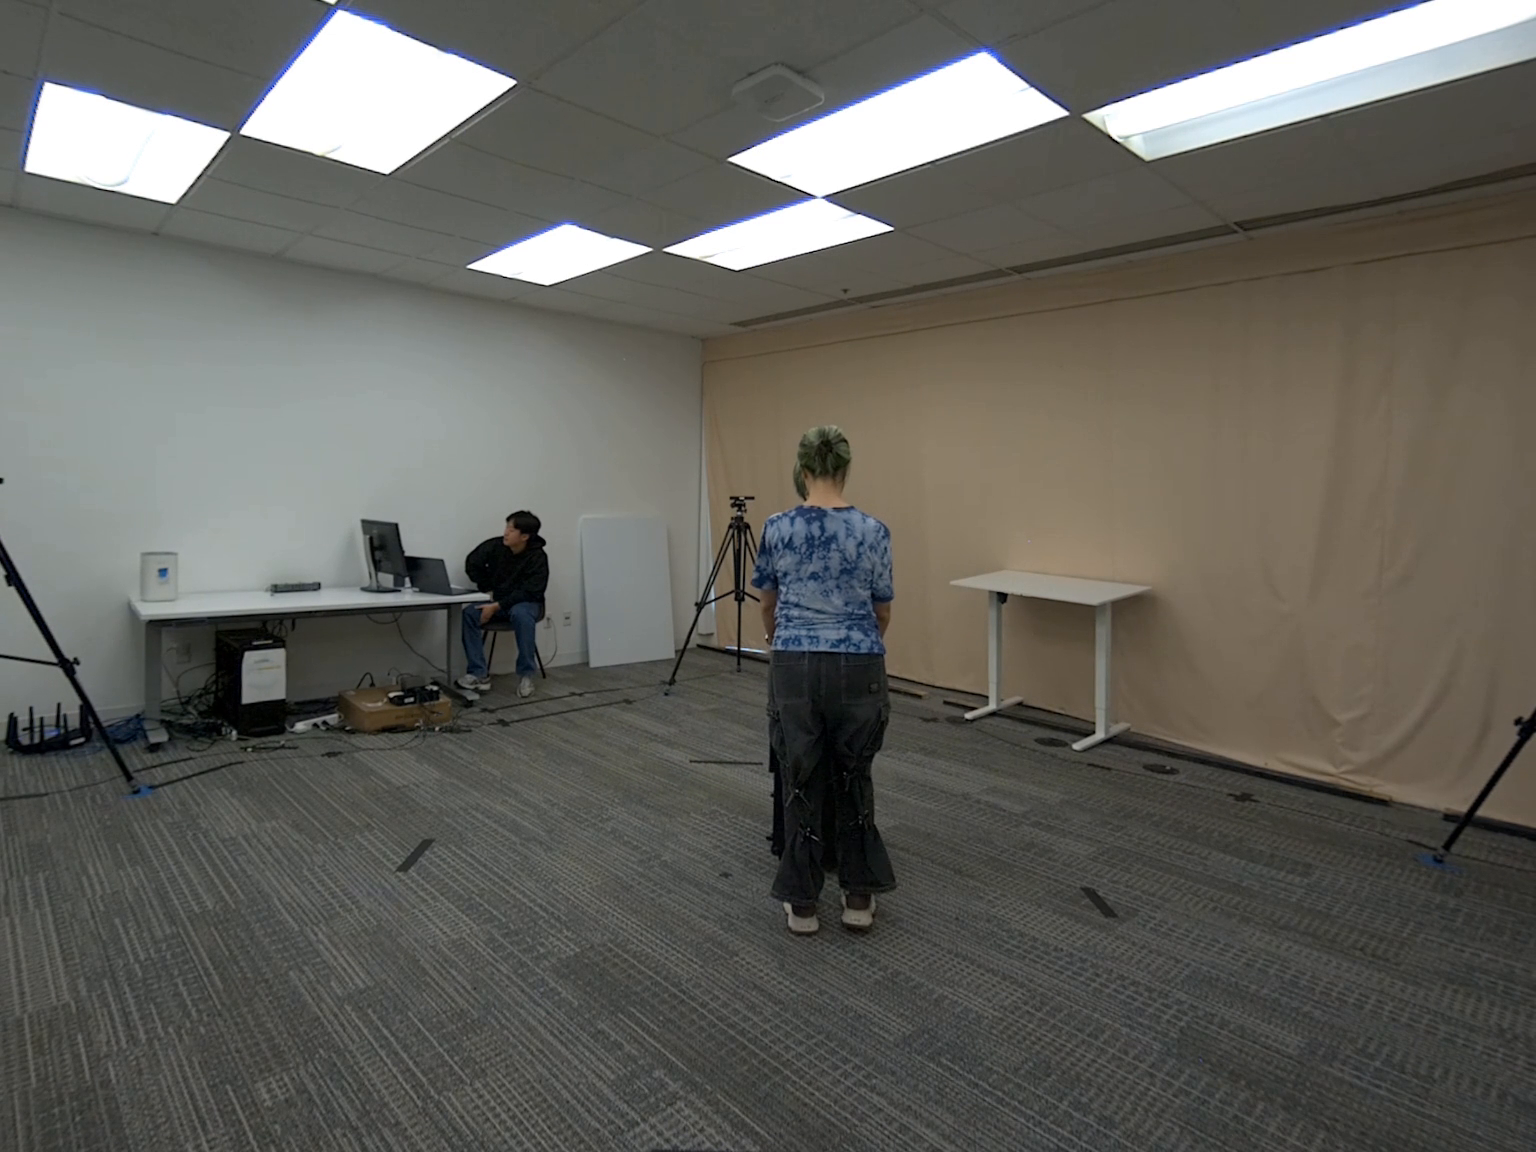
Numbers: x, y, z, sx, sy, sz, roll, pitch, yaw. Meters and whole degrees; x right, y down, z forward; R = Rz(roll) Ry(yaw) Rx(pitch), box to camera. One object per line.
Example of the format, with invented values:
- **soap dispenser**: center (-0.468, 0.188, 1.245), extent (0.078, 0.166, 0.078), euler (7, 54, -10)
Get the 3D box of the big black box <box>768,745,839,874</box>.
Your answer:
- **big black box**: center (0.198, 0.675, 3.324), extent (0.397, 0.859, 0.521), euler (1, 4, 3)
